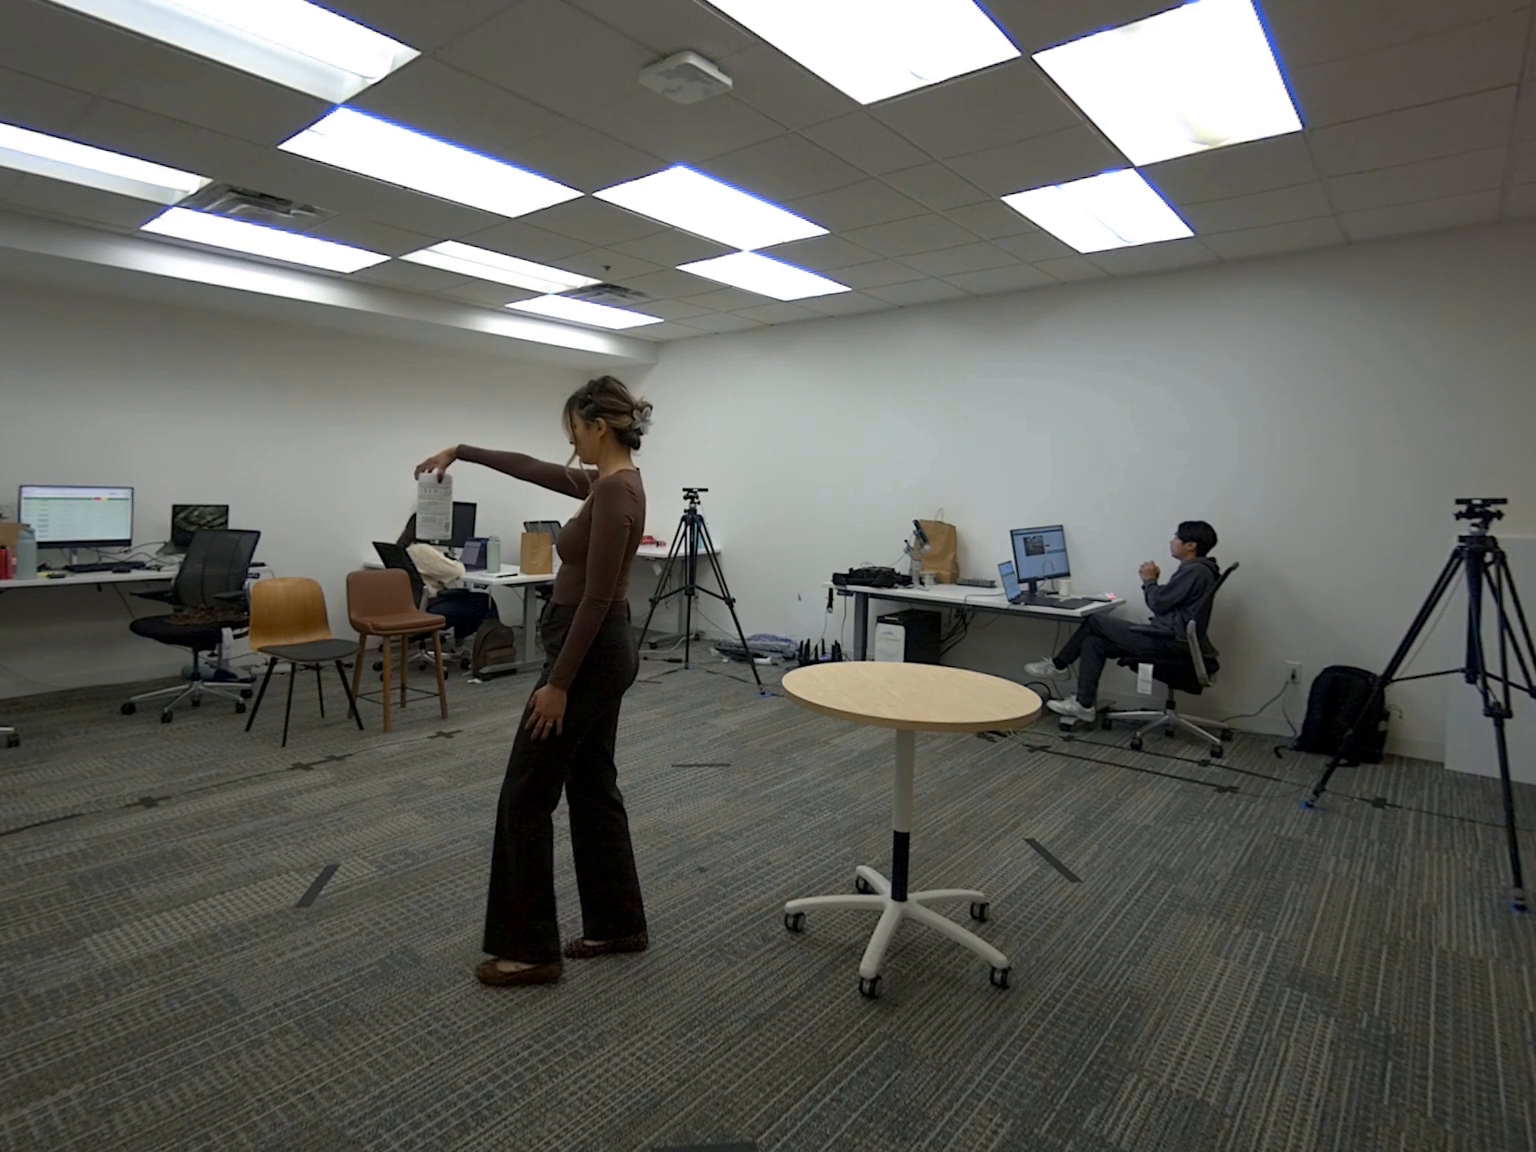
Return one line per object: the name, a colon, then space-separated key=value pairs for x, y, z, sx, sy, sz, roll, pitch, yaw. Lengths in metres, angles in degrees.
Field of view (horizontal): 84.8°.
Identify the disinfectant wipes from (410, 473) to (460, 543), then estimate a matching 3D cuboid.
disinfectant wipes: x=-1.093 y=-0.226 z=2.759 sx=0.117 sy=0.217 sz=0.118 roll=2 pitch=3 yaw=-2
